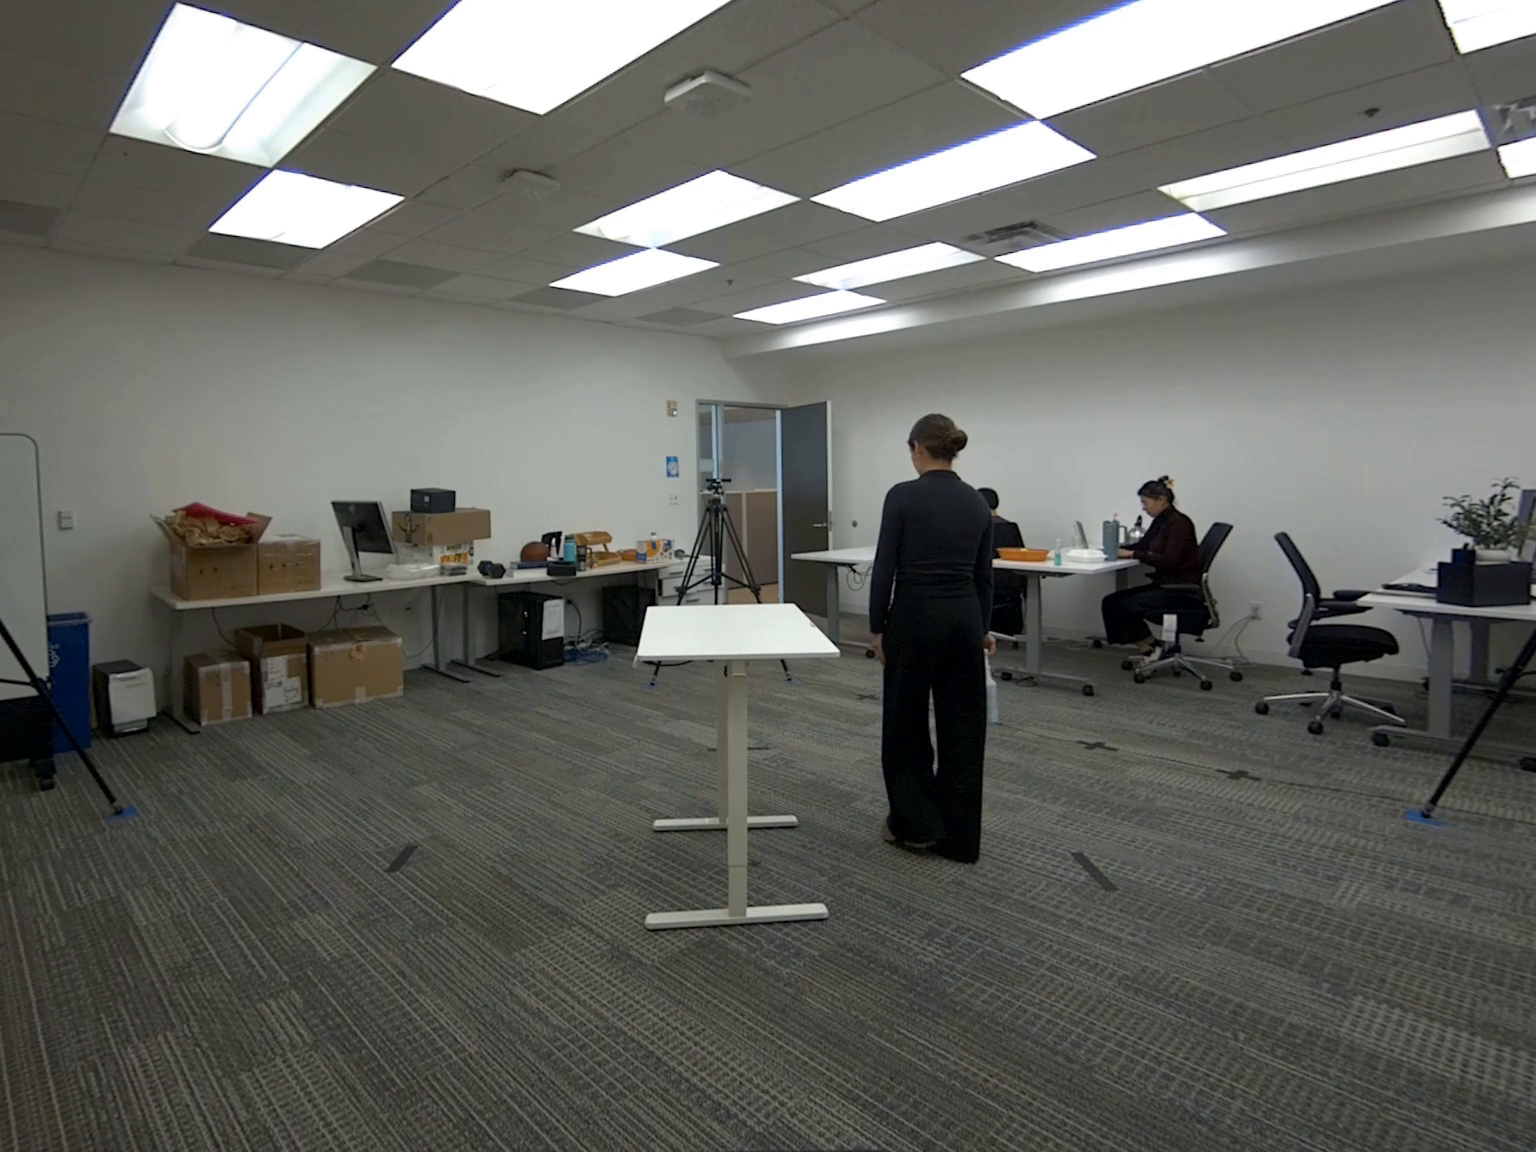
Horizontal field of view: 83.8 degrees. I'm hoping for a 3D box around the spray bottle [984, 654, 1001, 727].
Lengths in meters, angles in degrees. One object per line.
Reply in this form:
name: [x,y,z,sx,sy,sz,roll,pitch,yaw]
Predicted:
spray bottle: [0.840,0.428,3.322,0.089,0.297,0.088,-3,3,25]
